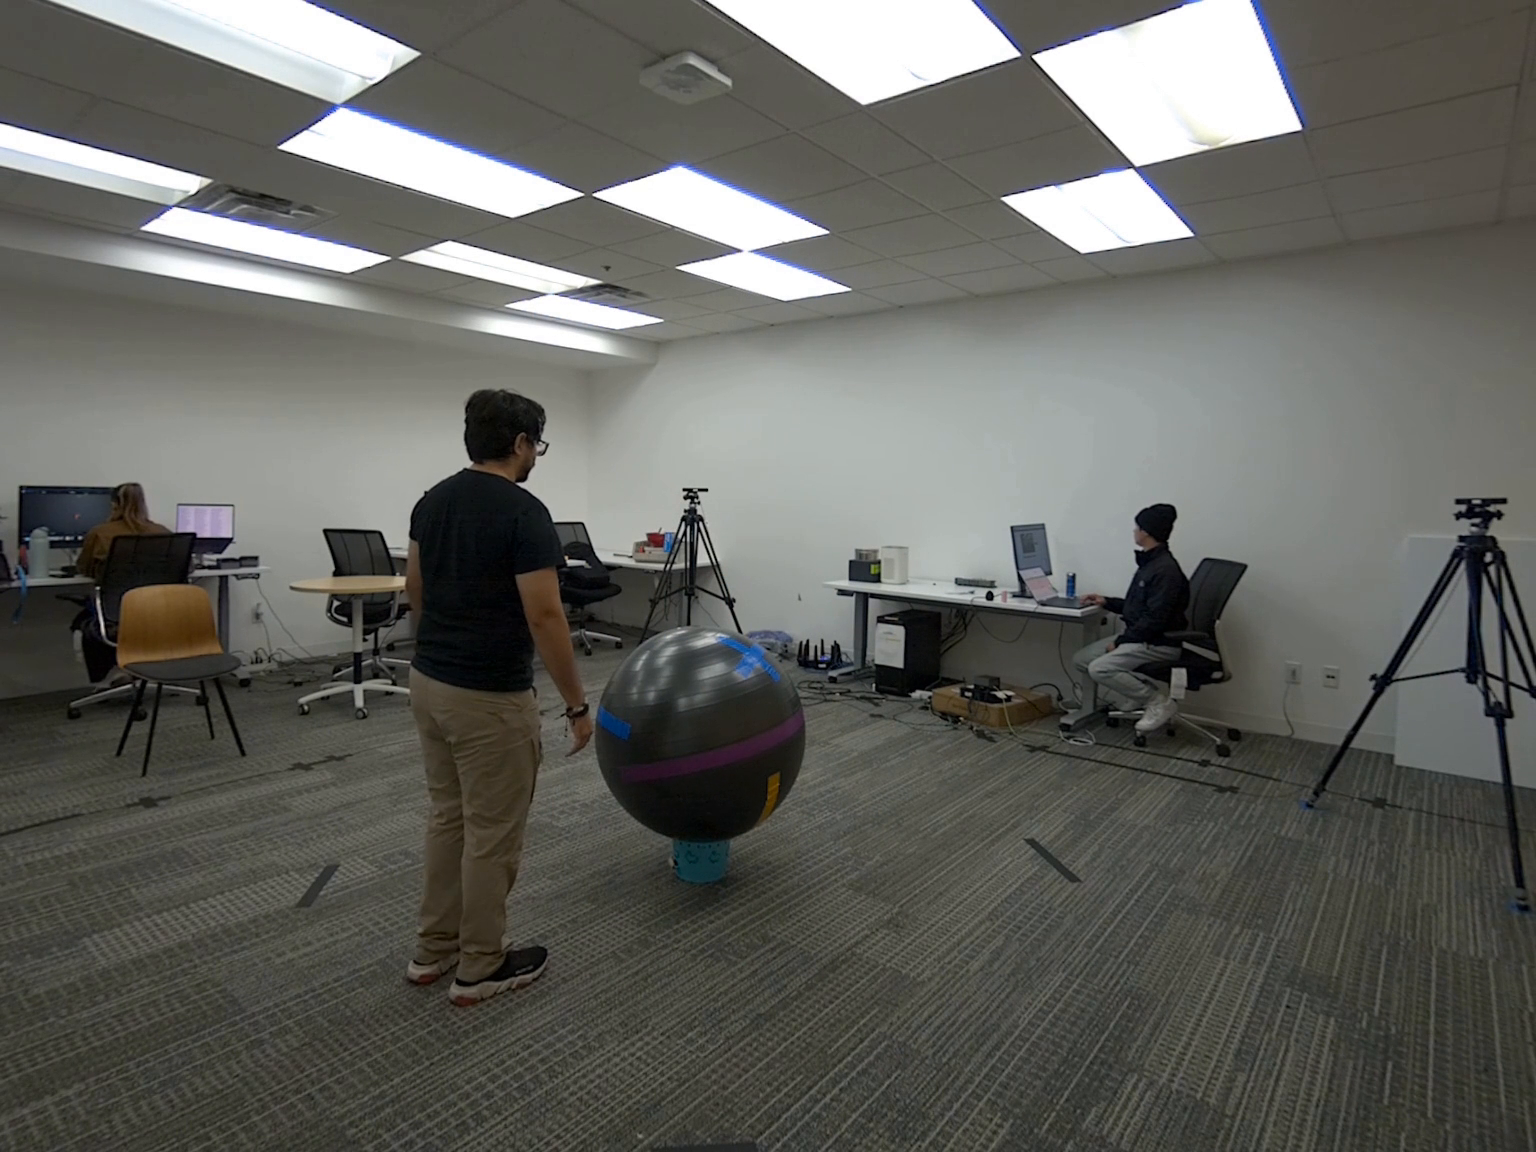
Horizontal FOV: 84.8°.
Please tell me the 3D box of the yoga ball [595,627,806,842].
[{"bbox_3d":[-0.260,0.561,3.070,0.757,0.756,0.762,1,4,-2],"label":"yoga ball"}]
